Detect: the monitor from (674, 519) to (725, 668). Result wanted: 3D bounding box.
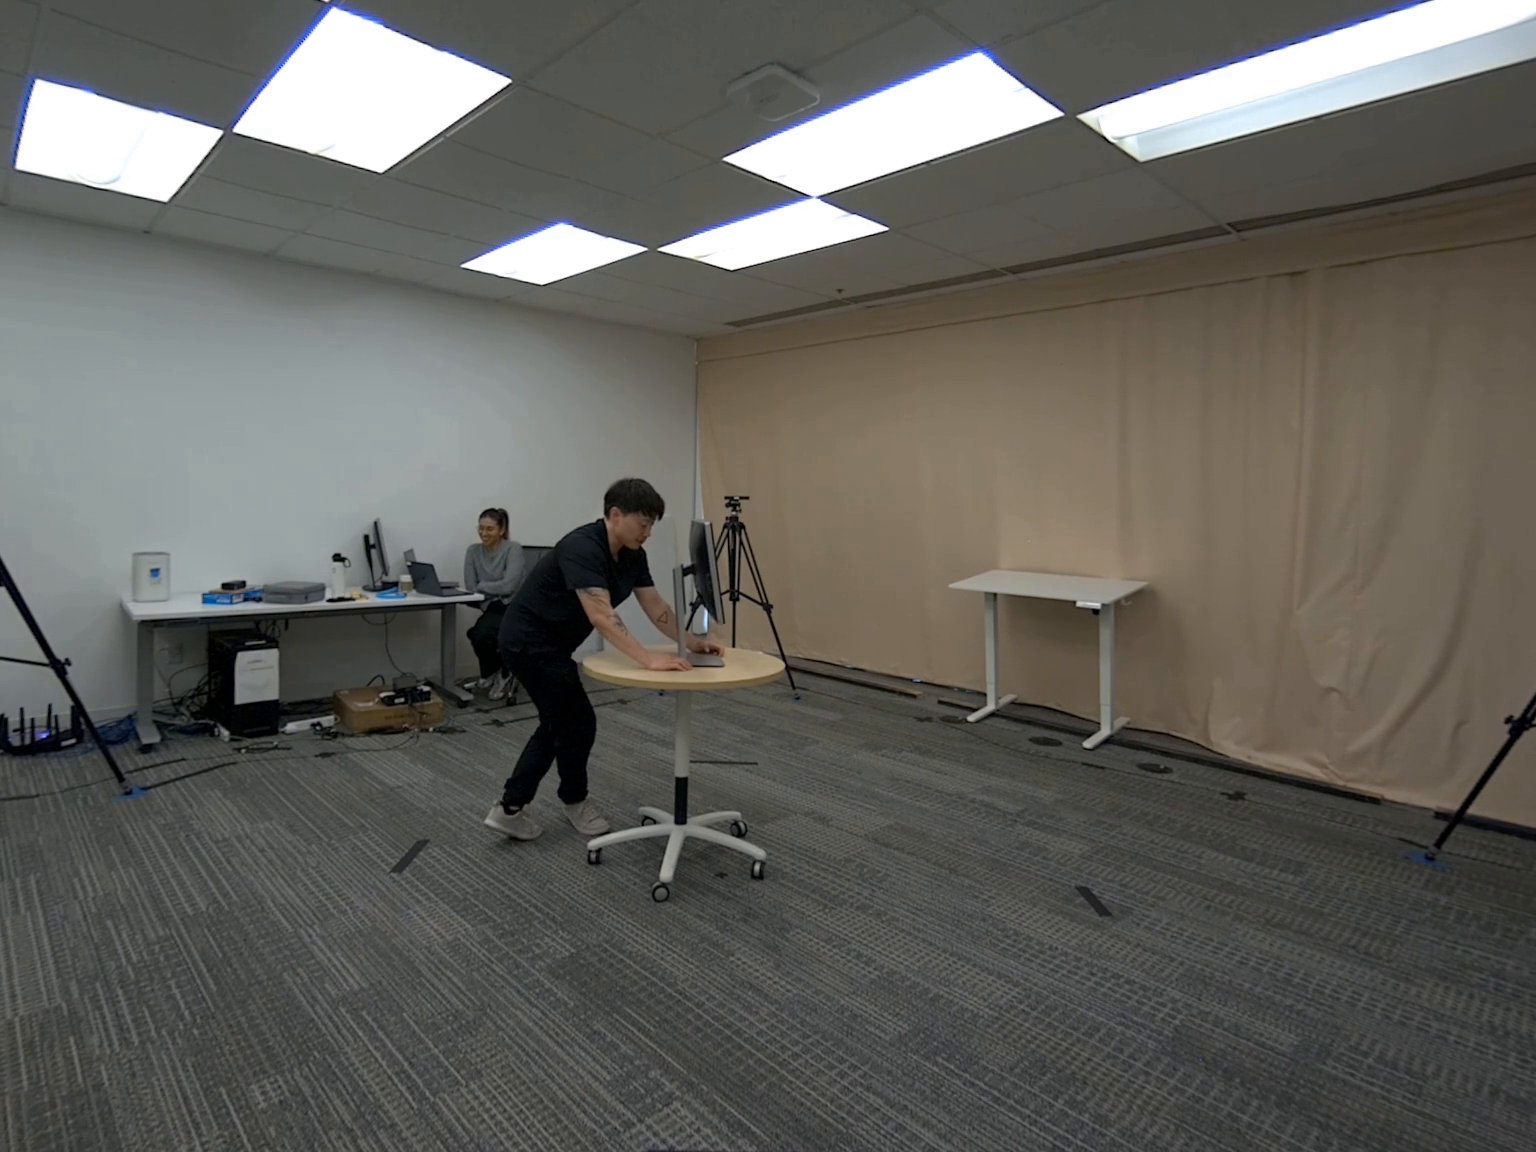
[{"bbox_3d":[-0.279,0.060,3.209,0.185,0.522,0.545,2,3,-12],"label":"monitor"}]
